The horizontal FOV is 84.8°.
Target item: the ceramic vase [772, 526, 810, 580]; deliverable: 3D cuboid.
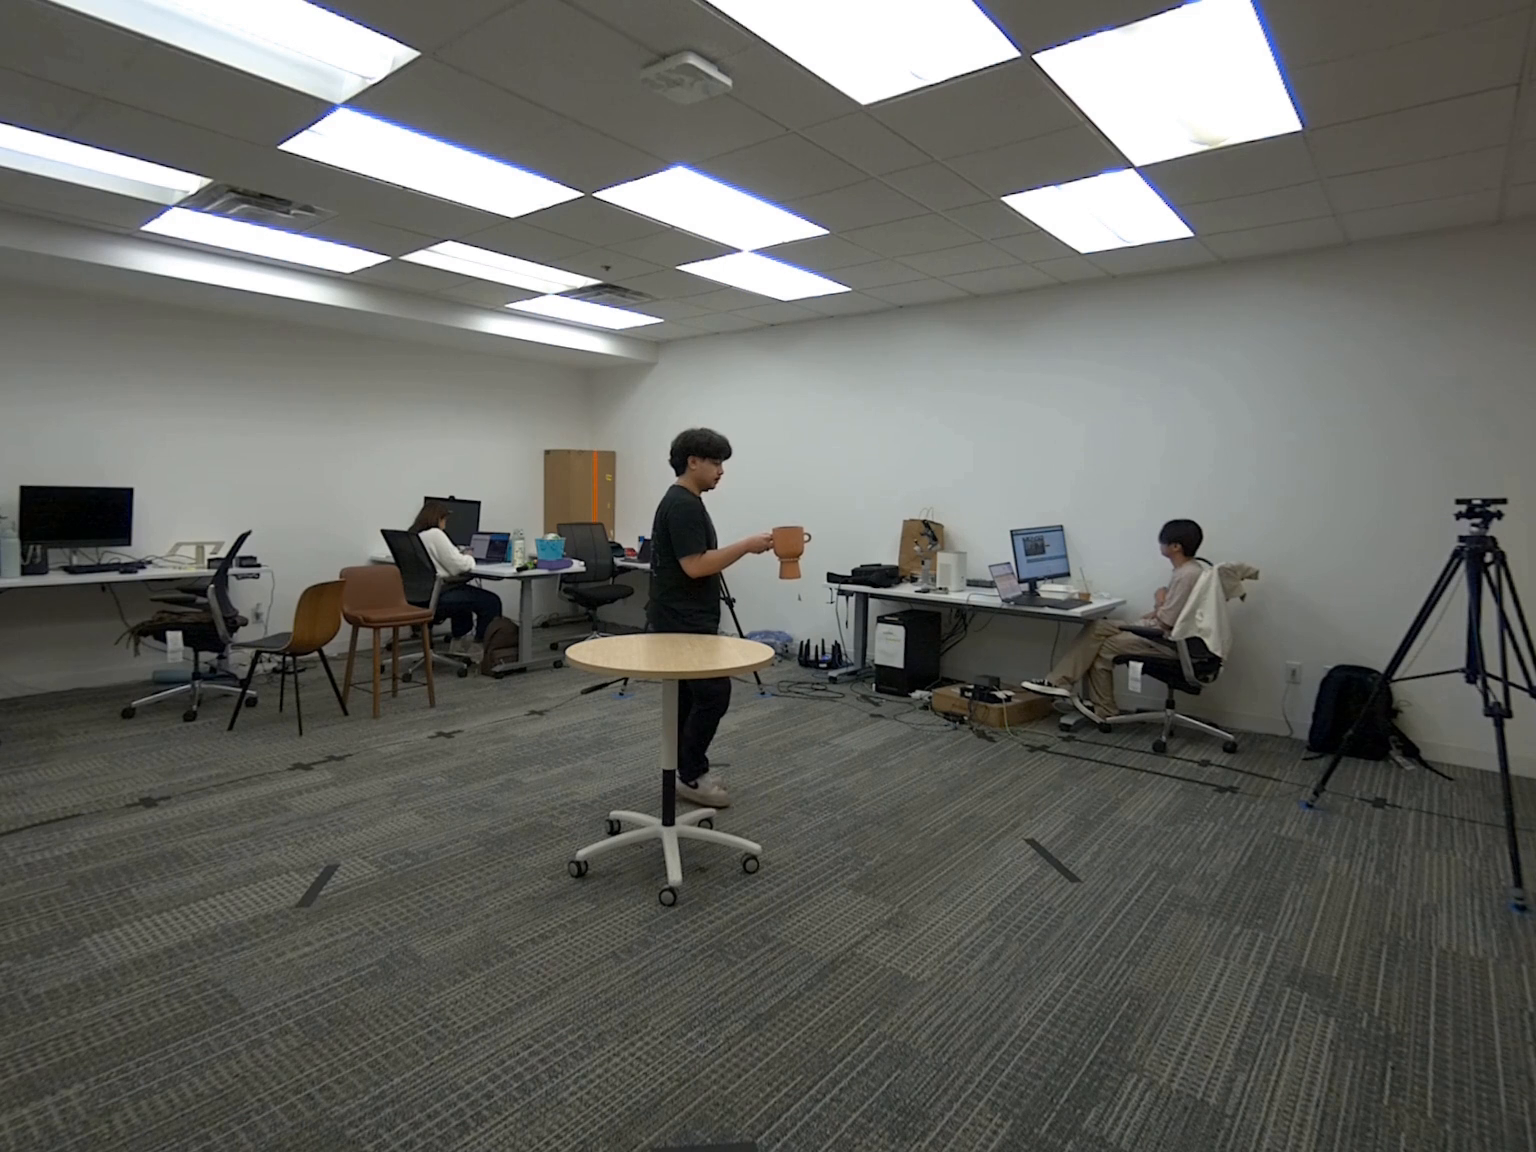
[{"bbox_3d":[0.081,-0.102,3.655,0.164,0.219,0.131,1,5,39],"label":"ceramic vase"}]
